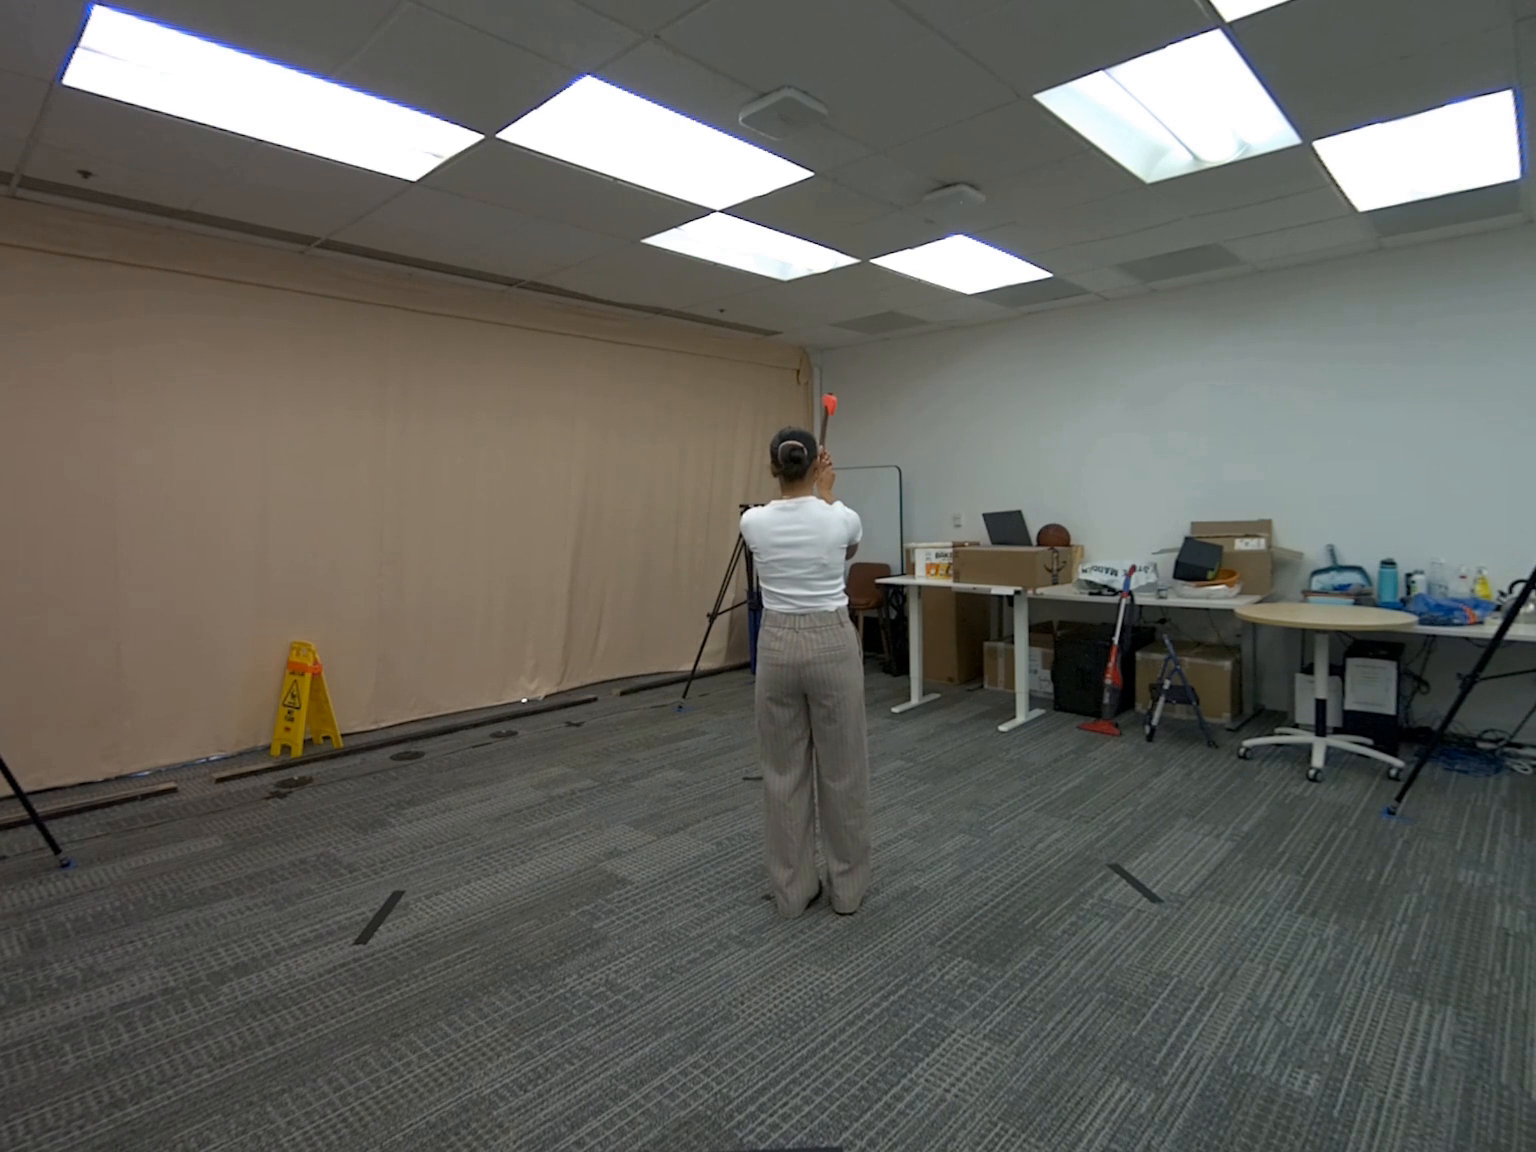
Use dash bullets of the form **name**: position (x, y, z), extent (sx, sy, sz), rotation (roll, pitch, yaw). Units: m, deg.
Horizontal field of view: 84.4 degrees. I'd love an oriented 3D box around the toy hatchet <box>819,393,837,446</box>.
- **toy hatchet**: position (0.230, -0.549, 3.102), extent (0.029, 0.271, 0.133), rotation (6, -7, -20)
